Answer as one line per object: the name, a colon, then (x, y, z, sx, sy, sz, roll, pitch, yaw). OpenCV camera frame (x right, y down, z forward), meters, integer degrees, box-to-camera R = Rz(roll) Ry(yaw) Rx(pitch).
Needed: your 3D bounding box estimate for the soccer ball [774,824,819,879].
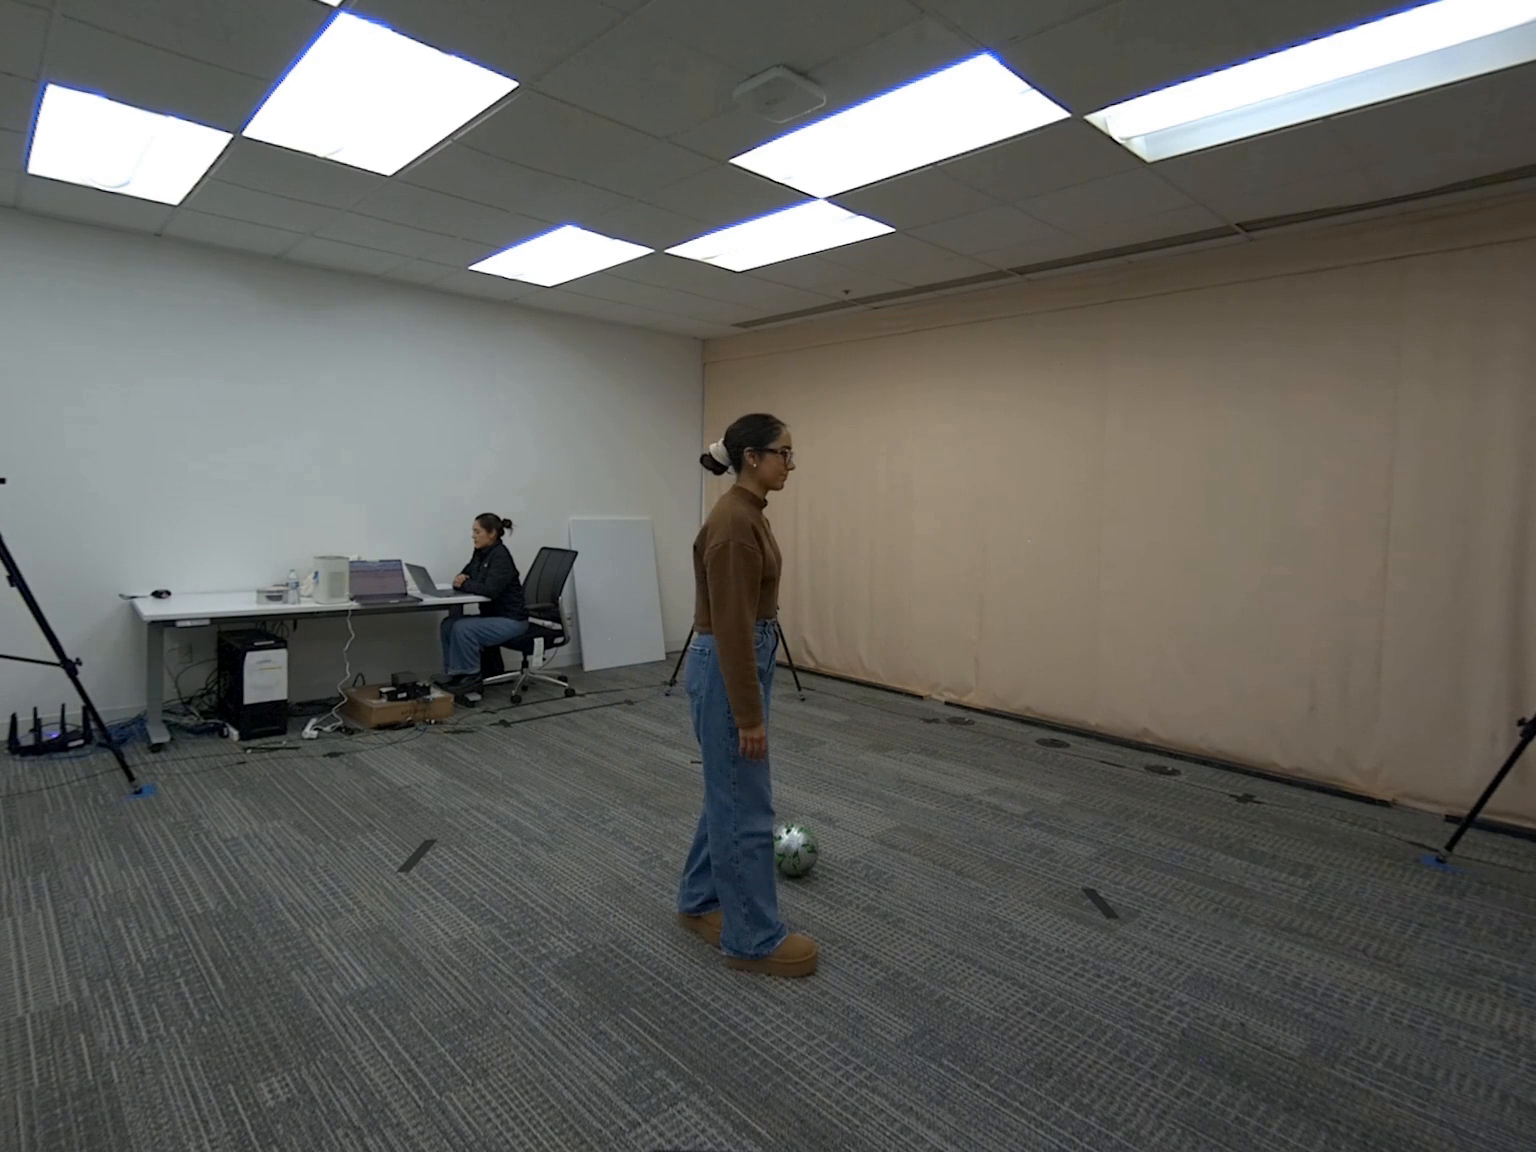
soccer ball: (0.088, 1.014, 3.130, 0.187, 0.187, 0.188, 1, 4, -1)
